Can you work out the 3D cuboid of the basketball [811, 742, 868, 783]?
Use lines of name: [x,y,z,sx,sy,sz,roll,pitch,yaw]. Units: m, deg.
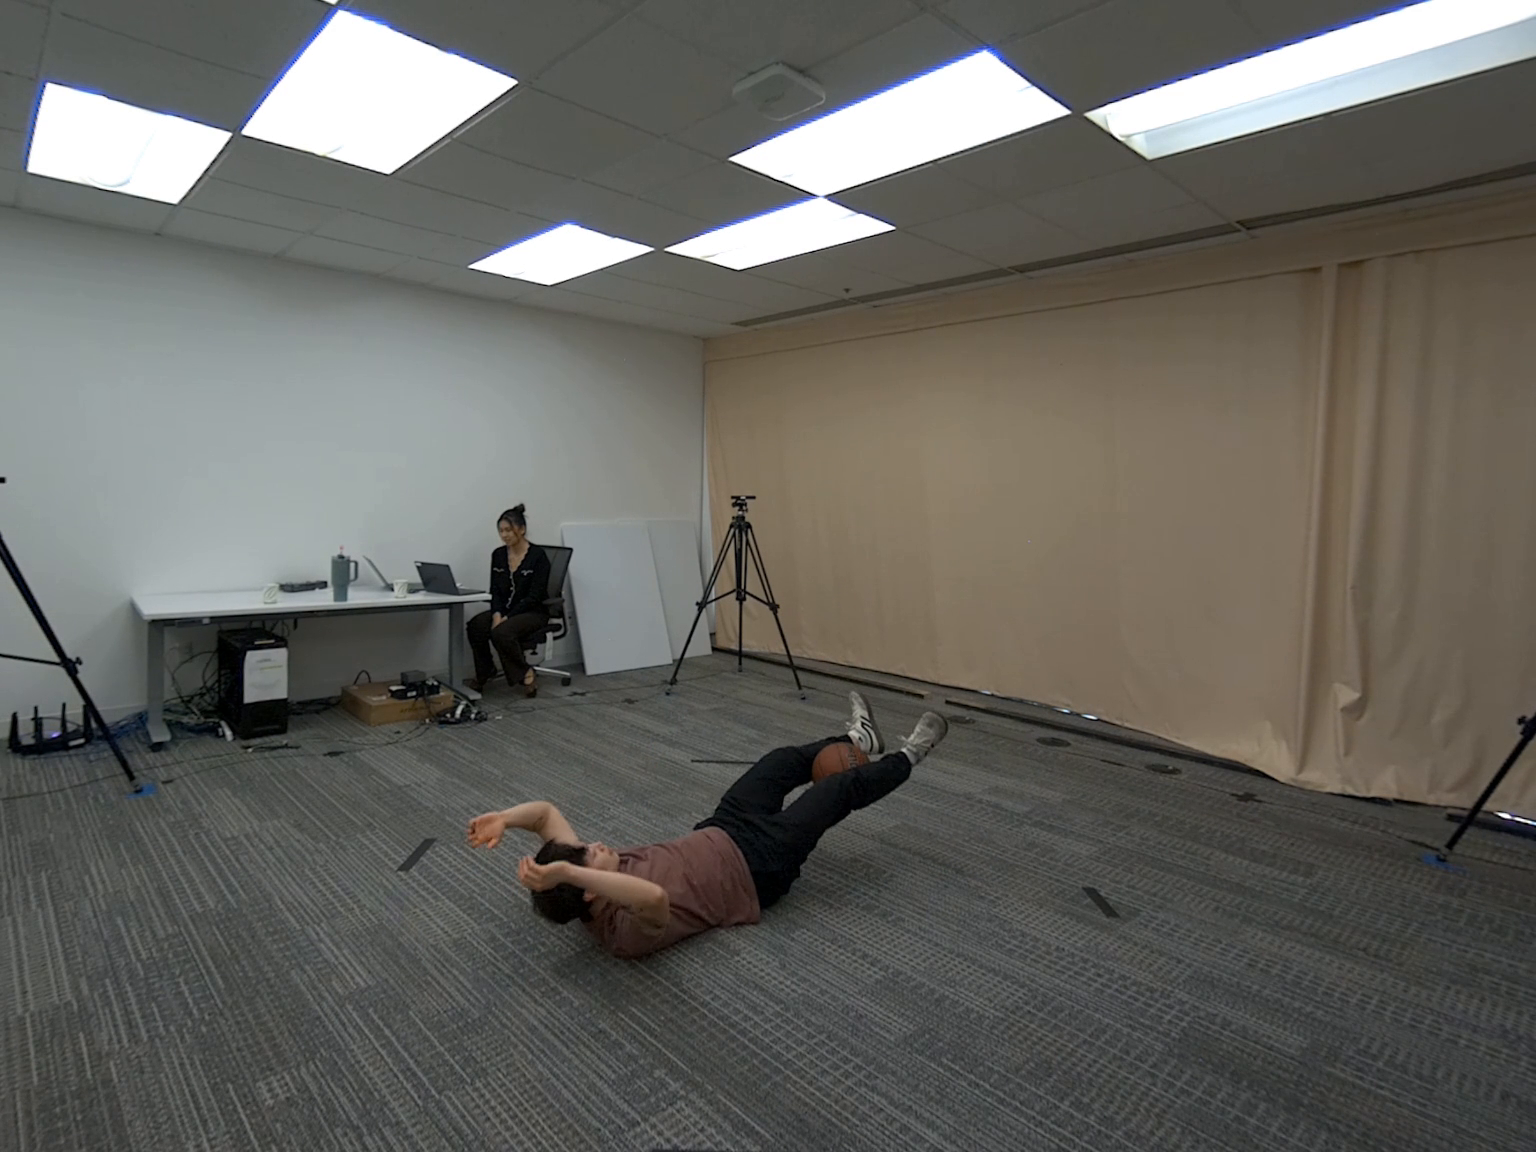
basketball: [0.286,0.763,3.243,0.236,0.235,0.237,2,4,-2]
